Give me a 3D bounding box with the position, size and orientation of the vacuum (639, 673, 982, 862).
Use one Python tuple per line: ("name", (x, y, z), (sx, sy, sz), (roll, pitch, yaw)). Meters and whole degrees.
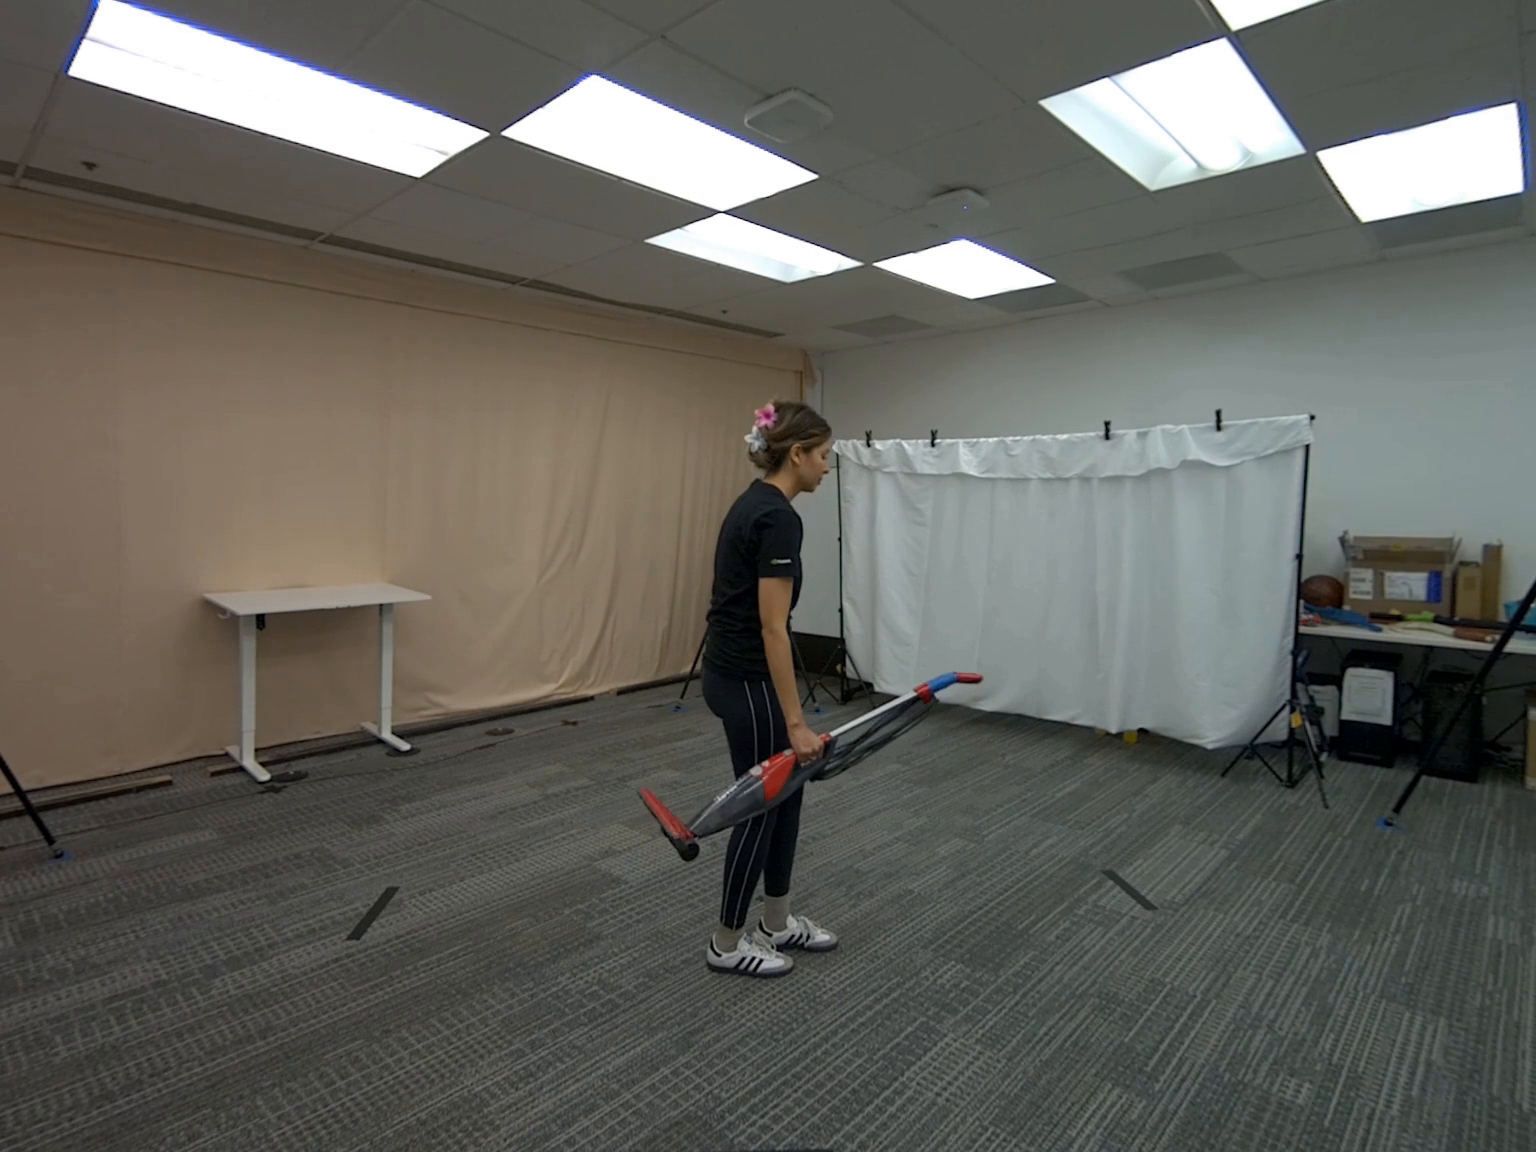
("vacuum", (0.191, 0.500, 2.311), (1.034, 0.141, 0.261), (-20, 24, -20))
